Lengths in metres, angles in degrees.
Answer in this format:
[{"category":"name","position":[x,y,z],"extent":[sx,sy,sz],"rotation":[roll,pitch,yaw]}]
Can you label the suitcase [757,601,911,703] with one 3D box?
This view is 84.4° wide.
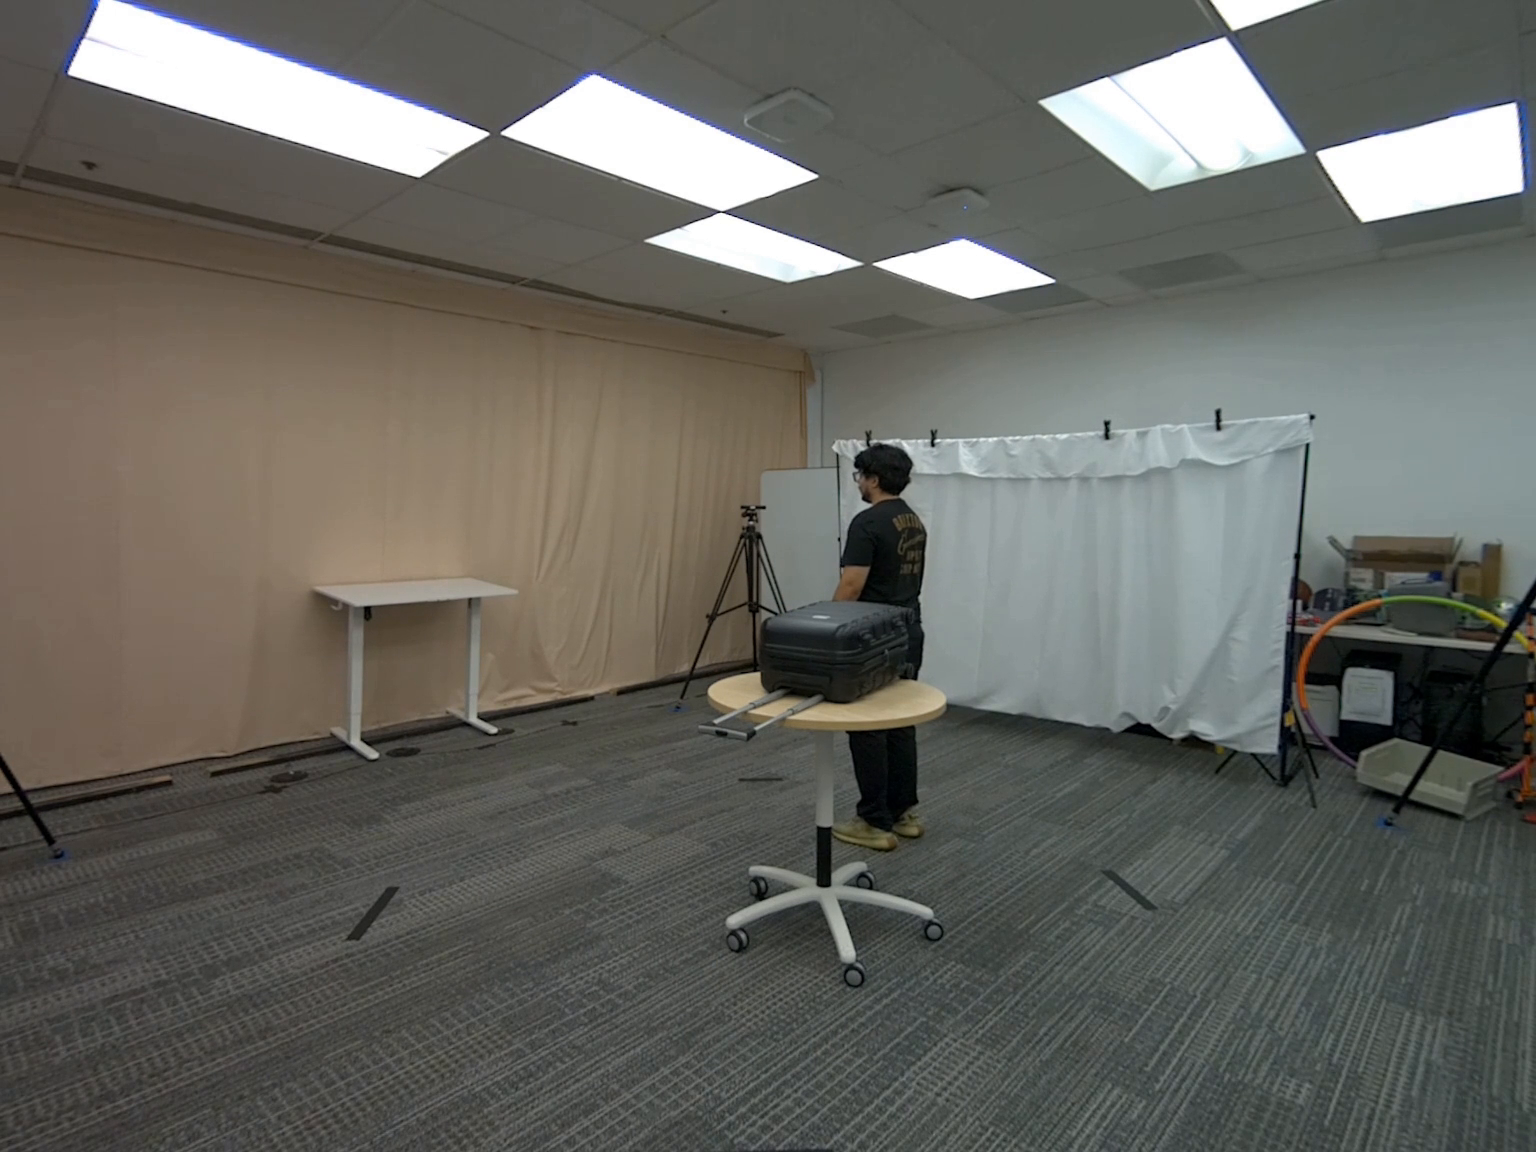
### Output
[{"category":"suitcase","position":[0.124,0.260,2.662],"extent":[0.396,0.256,0.952],"rotation":[4,6,32]}]
